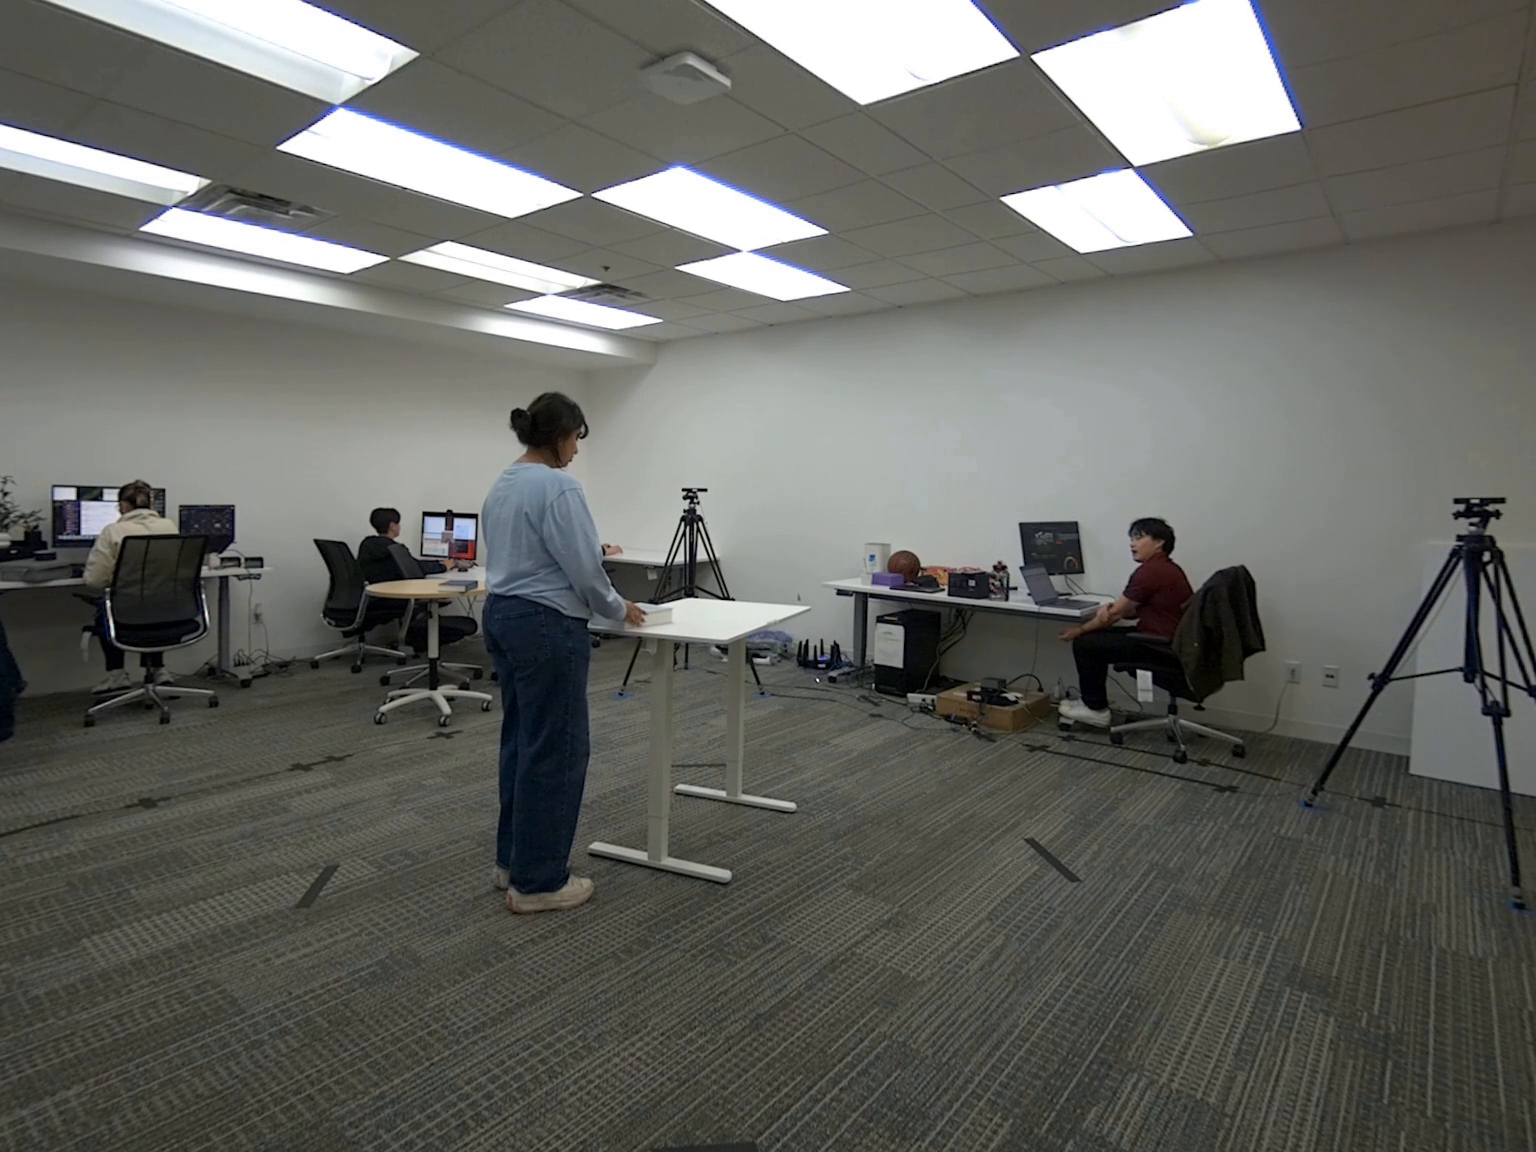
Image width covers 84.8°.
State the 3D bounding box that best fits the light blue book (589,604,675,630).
[{"bbox_3d":[-0.514,0.153,3.184,0.198,0.059,0.254,5,9,37],"label":"light blue book"}]
